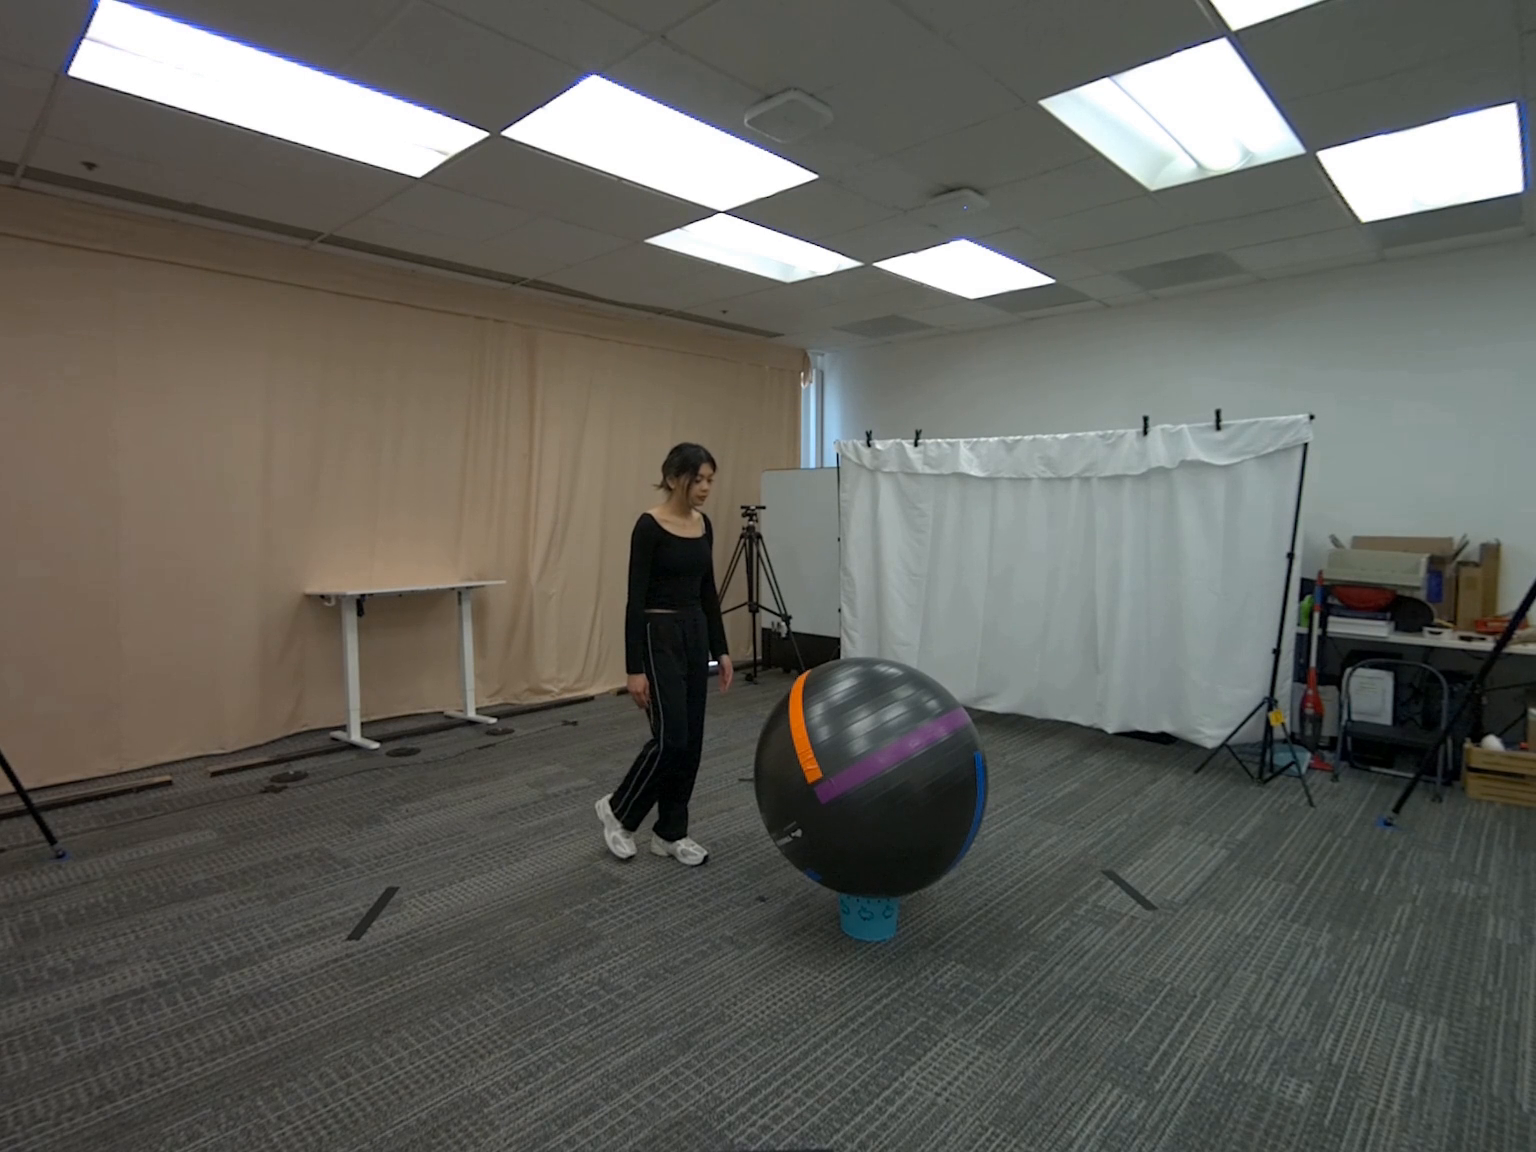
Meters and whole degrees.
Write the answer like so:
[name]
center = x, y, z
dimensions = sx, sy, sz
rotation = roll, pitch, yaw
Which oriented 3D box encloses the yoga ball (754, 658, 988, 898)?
[yoga ball]
center = 0.337, 0.656, 2.763
dimensions = 0.757, 0.756, 0.760
rotation = 0, 4, -2
